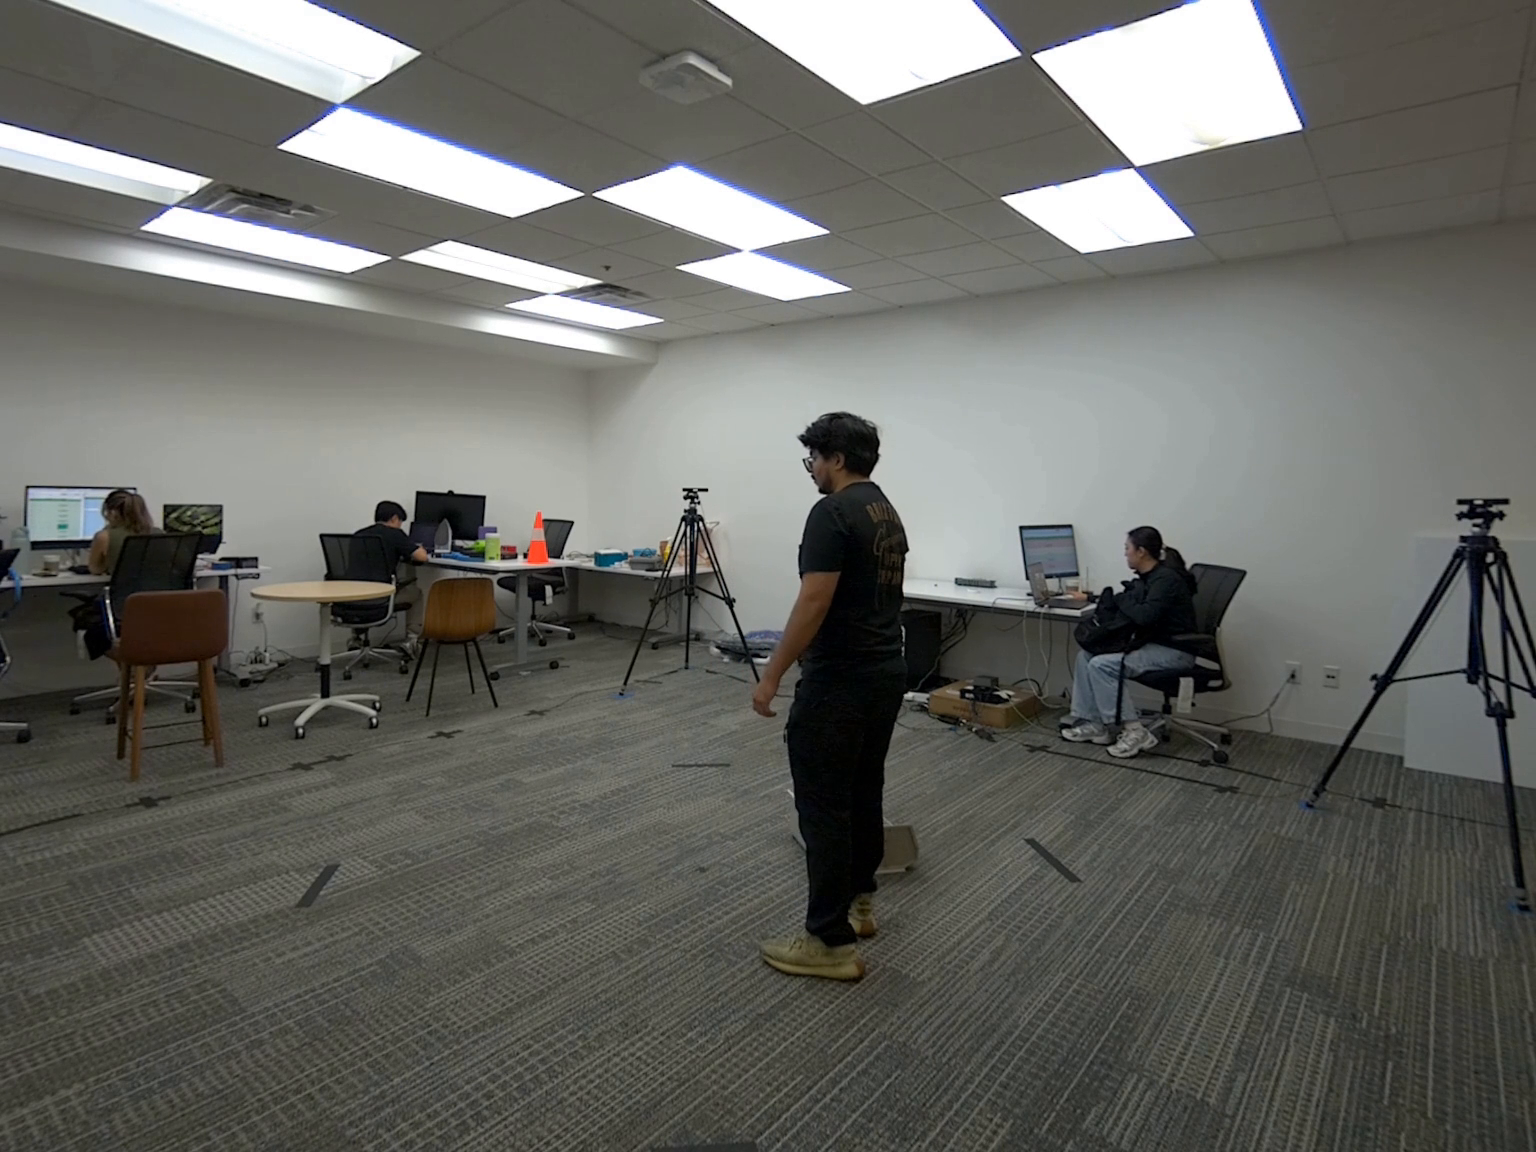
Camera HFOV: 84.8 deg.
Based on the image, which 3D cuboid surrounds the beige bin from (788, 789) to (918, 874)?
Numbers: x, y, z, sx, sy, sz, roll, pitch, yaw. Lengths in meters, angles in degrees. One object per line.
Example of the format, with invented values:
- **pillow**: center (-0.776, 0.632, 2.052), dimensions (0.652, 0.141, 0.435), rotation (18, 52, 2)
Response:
- **beige bin**: center (0.318, 0.970, 3.287), dimensions (0.372, 0.188, 0.430), rotation (-1, 6, -15)
